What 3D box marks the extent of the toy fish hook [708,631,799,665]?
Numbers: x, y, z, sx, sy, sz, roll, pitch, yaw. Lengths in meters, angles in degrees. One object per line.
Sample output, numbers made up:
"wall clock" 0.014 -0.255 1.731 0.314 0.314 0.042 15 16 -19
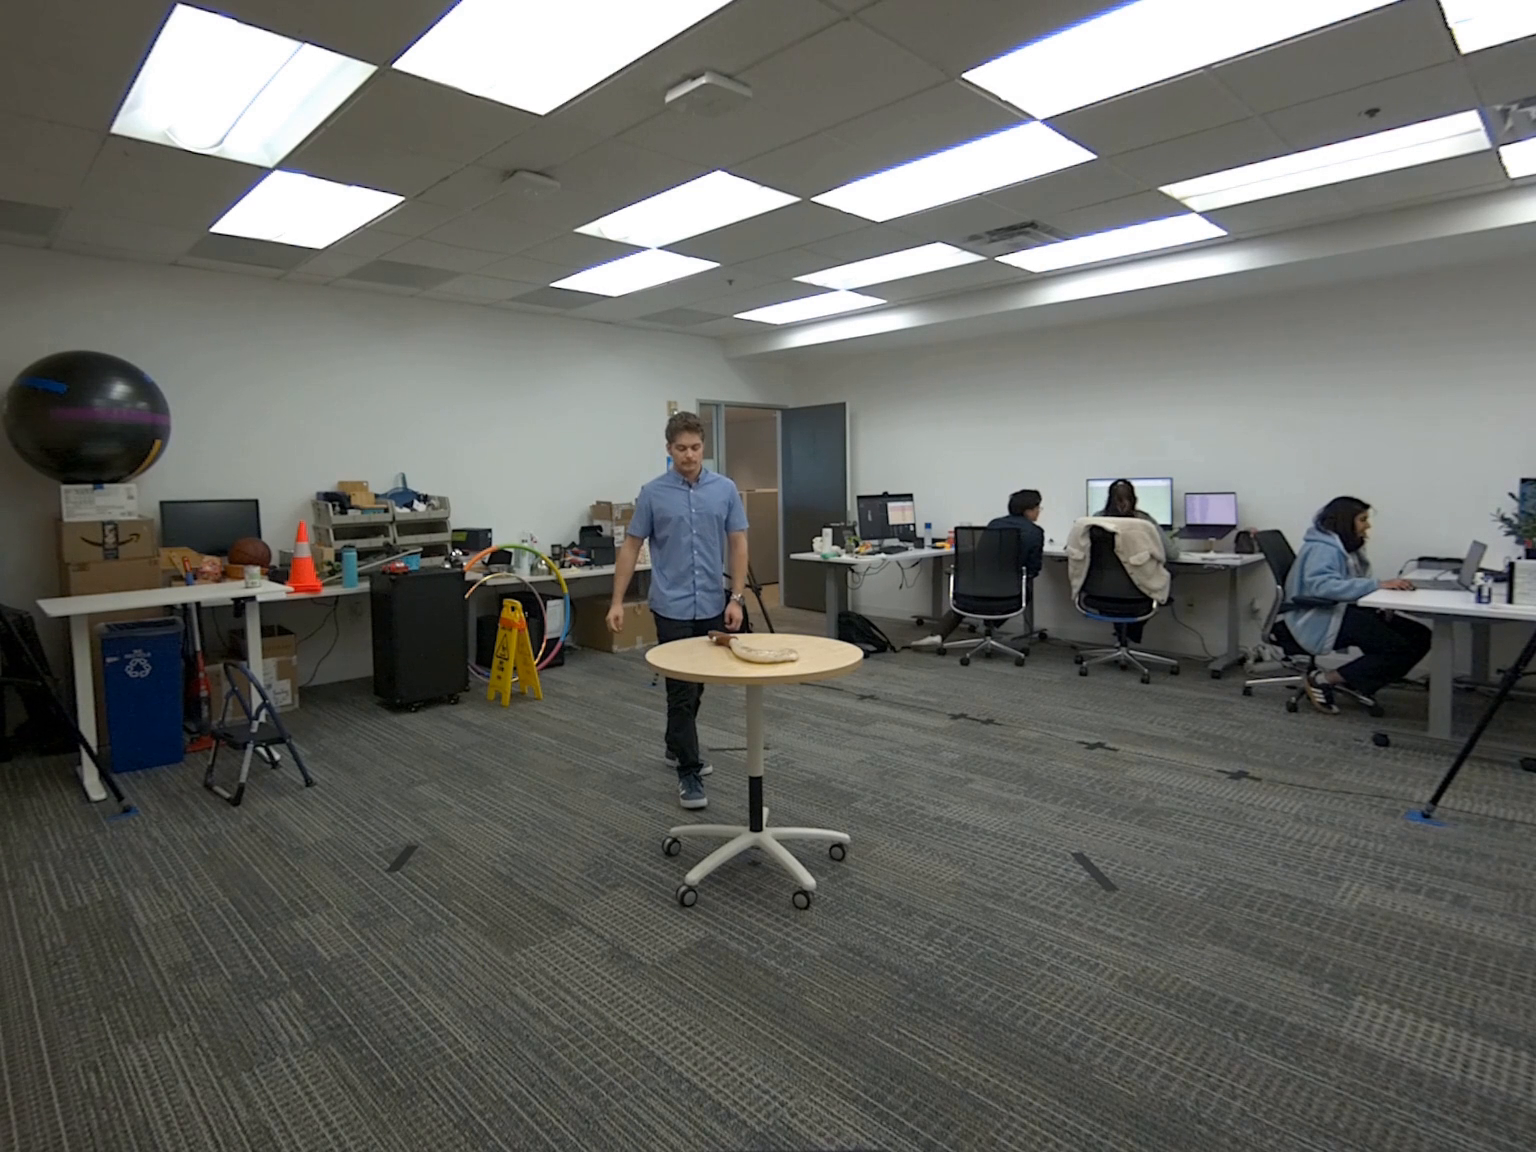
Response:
"toy fish hook" -0.063 0.256 3.056 0.220 0.048 0.519 3 5 -24
